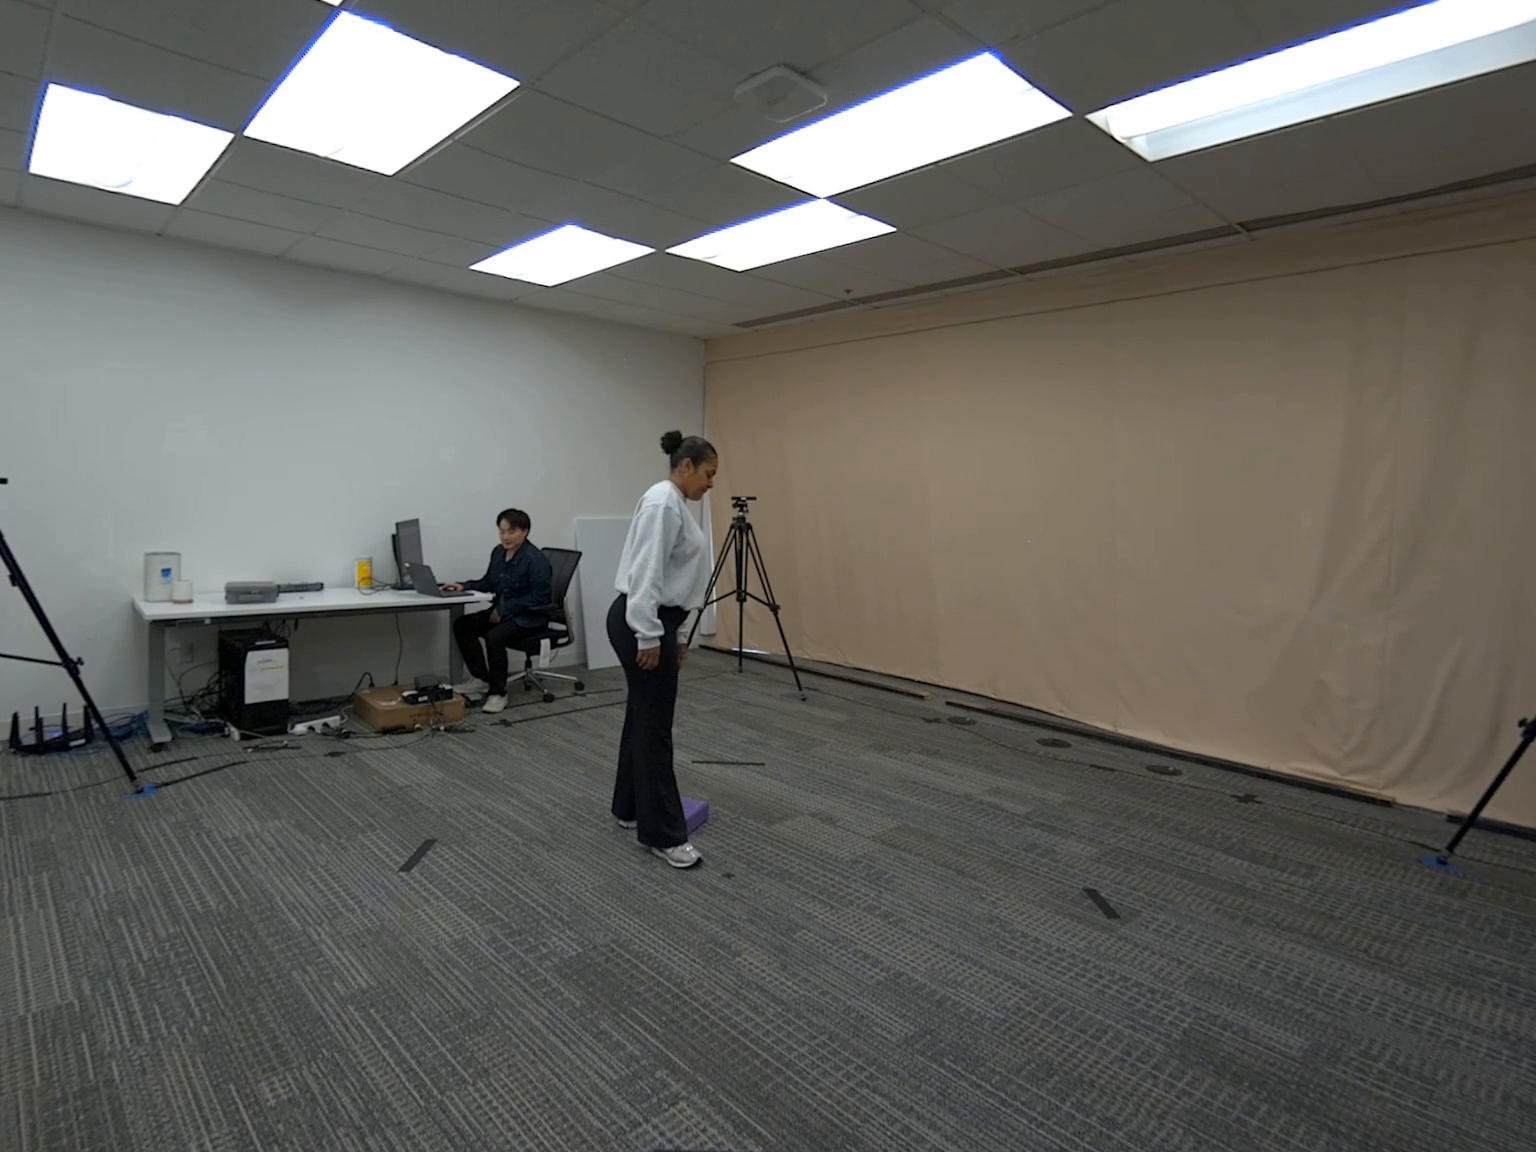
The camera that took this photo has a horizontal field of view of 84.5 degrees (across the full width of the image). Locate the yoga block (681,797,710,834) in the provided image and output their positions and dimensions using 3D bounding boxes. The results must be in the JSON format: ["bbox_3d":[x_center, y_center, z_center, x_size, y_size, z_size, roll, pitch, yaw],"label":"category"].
[{"bbox_3d":[-0.374,1.019,3.575,0.152,0.076,0.226,5,6,22],"label":"yoga block"}]
